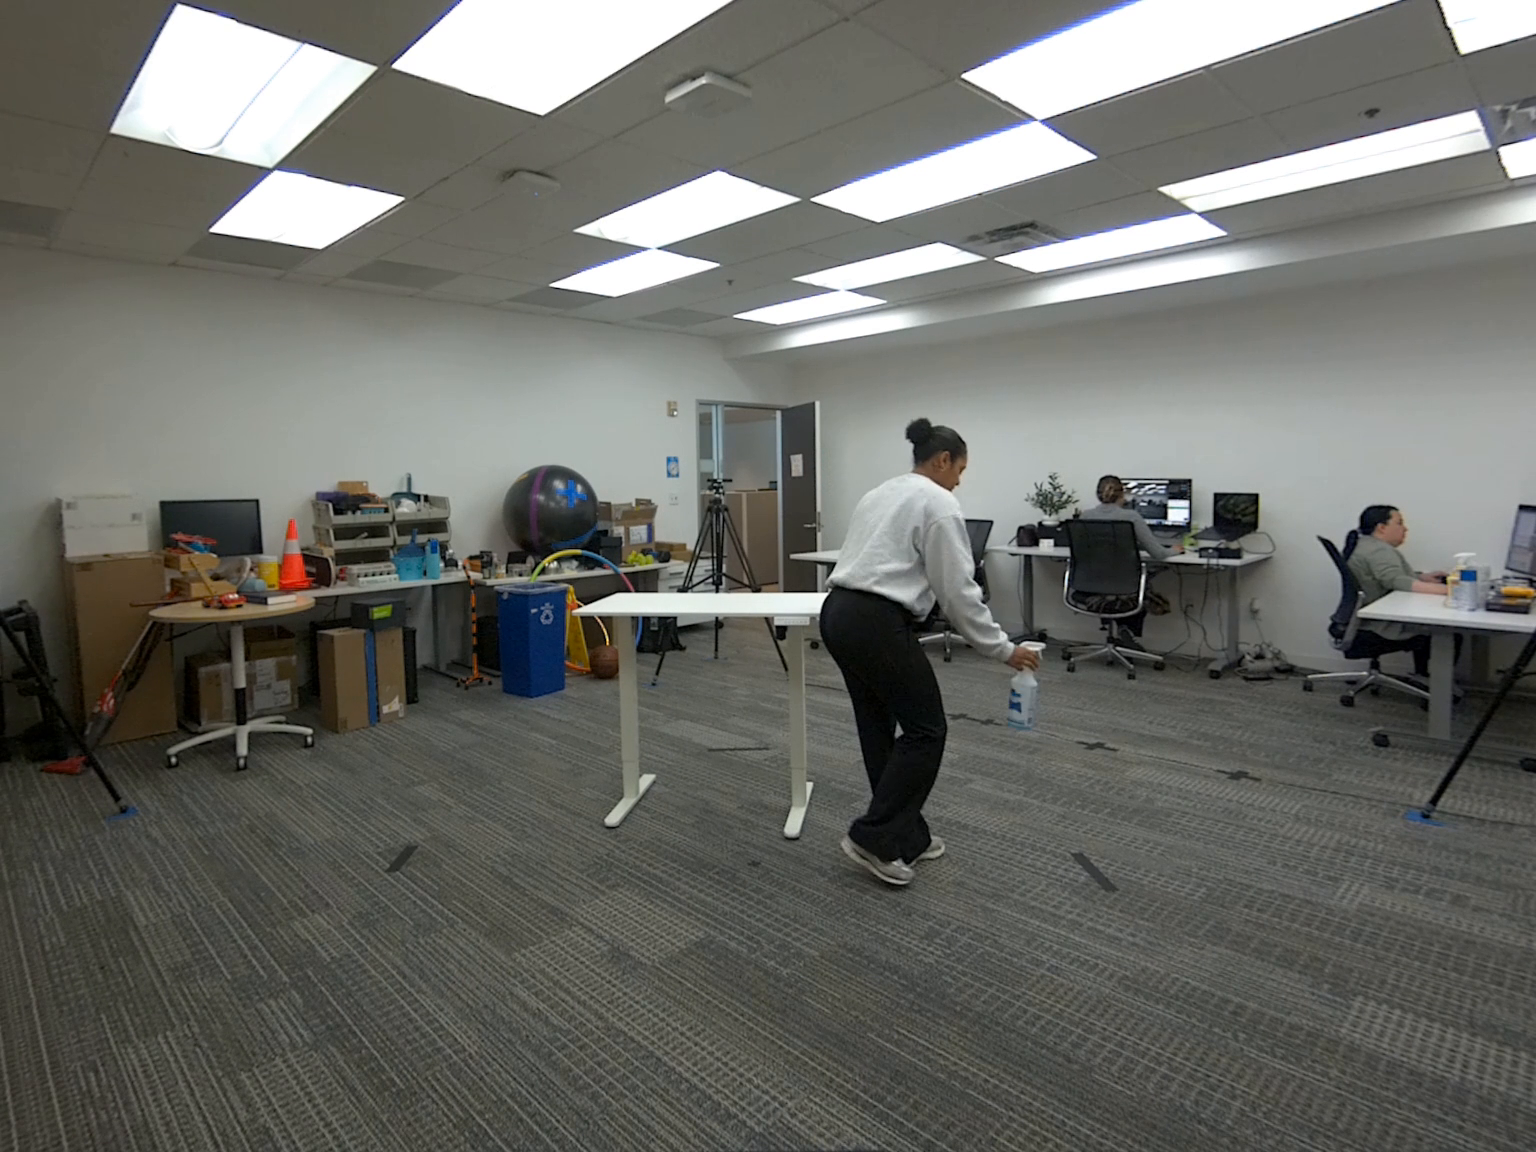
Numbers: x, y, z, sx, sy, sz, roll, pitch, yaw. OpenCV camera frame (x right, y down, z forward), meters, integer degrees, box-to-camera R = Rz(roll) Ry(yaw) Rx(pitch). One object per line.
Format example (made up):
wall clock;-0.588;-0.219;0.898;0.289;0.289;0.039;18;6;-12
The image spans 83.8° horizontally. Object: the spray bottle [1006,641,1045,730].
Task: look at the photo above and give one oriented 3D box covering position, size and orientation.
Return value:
spray bottle;0.873;0.376;2.913;0.092;0.296;0.085;9;6;24
